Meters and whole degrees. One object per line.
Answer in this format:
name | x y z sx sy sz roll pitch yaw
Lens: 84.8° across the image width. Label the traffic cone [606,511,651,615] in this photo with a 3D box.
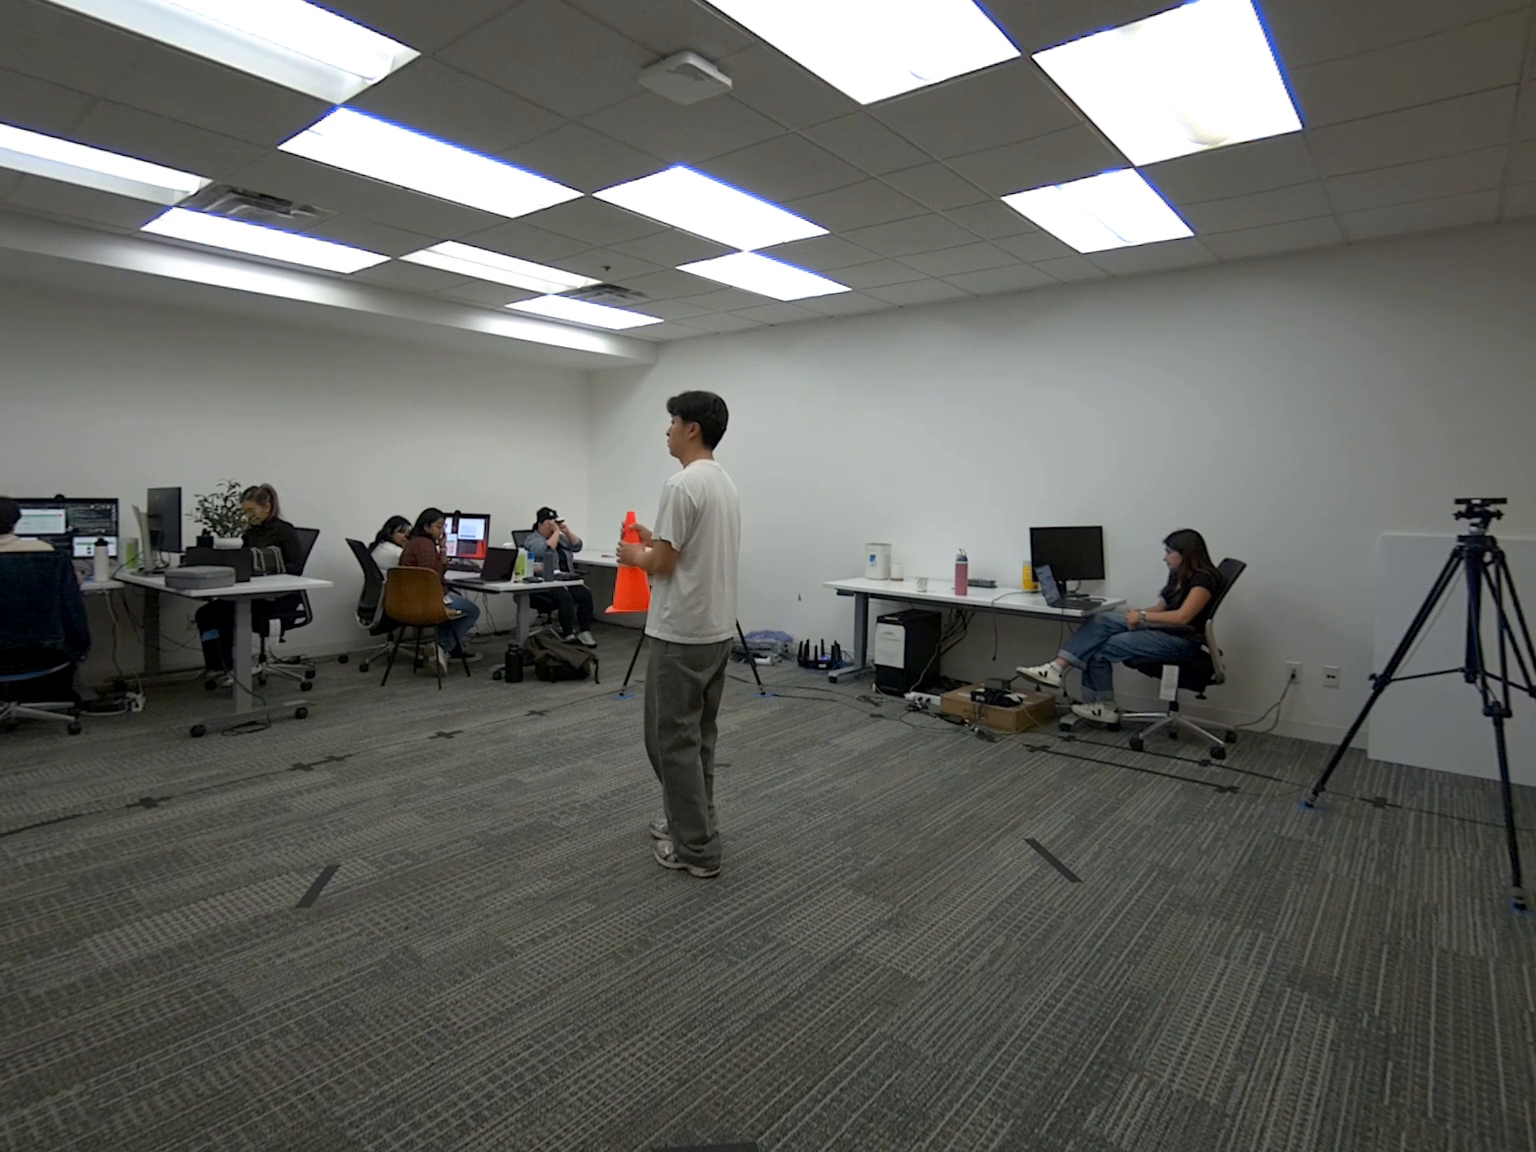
traffic cone | -0.533 -0.068 3.344 0.204 0.383 0.204 -1 1 2
